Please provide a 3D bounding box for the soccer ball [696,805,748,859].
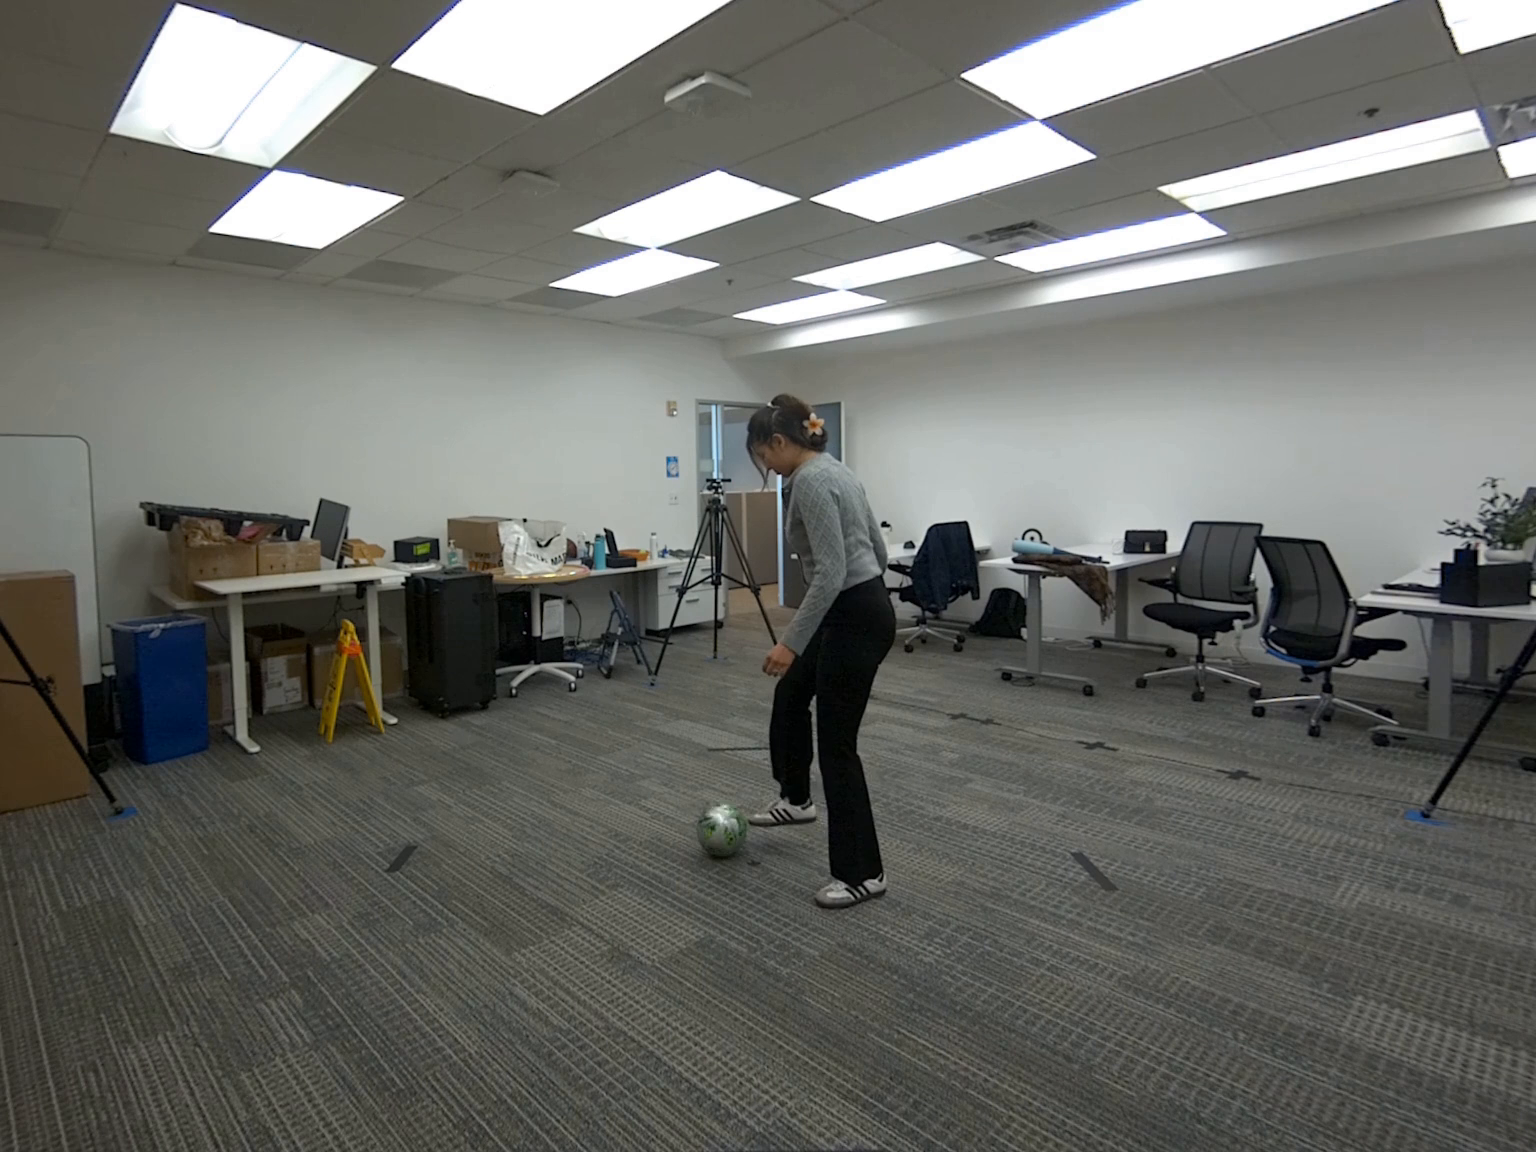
[{"bbox_3d":[-0.160,0.945,3.178,0.187,0.187,0.188,-1,5,-2],"label":"soccer ball"}]
